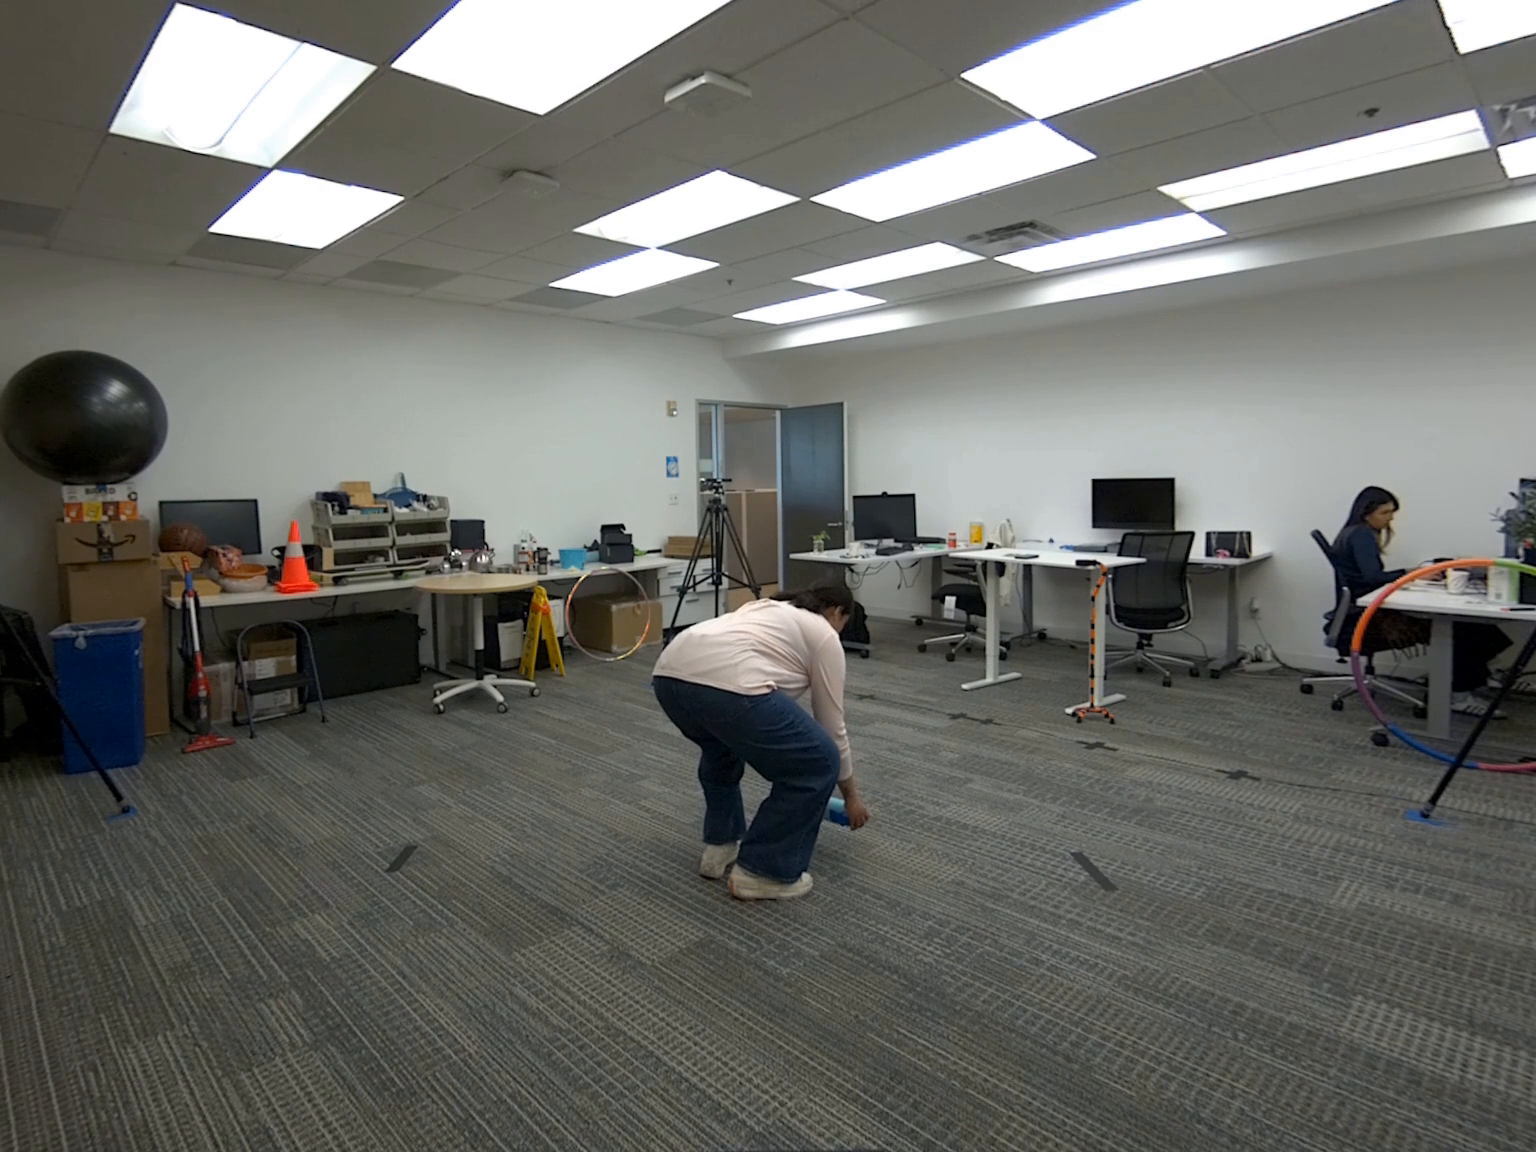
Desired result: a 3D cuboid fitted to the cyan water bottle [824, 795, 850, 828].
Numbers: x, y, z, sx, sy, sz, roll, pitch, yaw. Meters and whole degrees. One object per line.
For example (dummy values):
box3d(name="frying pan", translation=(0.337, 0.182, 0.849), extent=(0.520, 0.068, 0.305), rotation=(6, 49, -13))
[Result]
box3d(name="cyan water bottle", translation=(0.234, 0.875, 3.210), extent=(0.292, 0.092, 0.090), rotation=(4, 7, 44))
